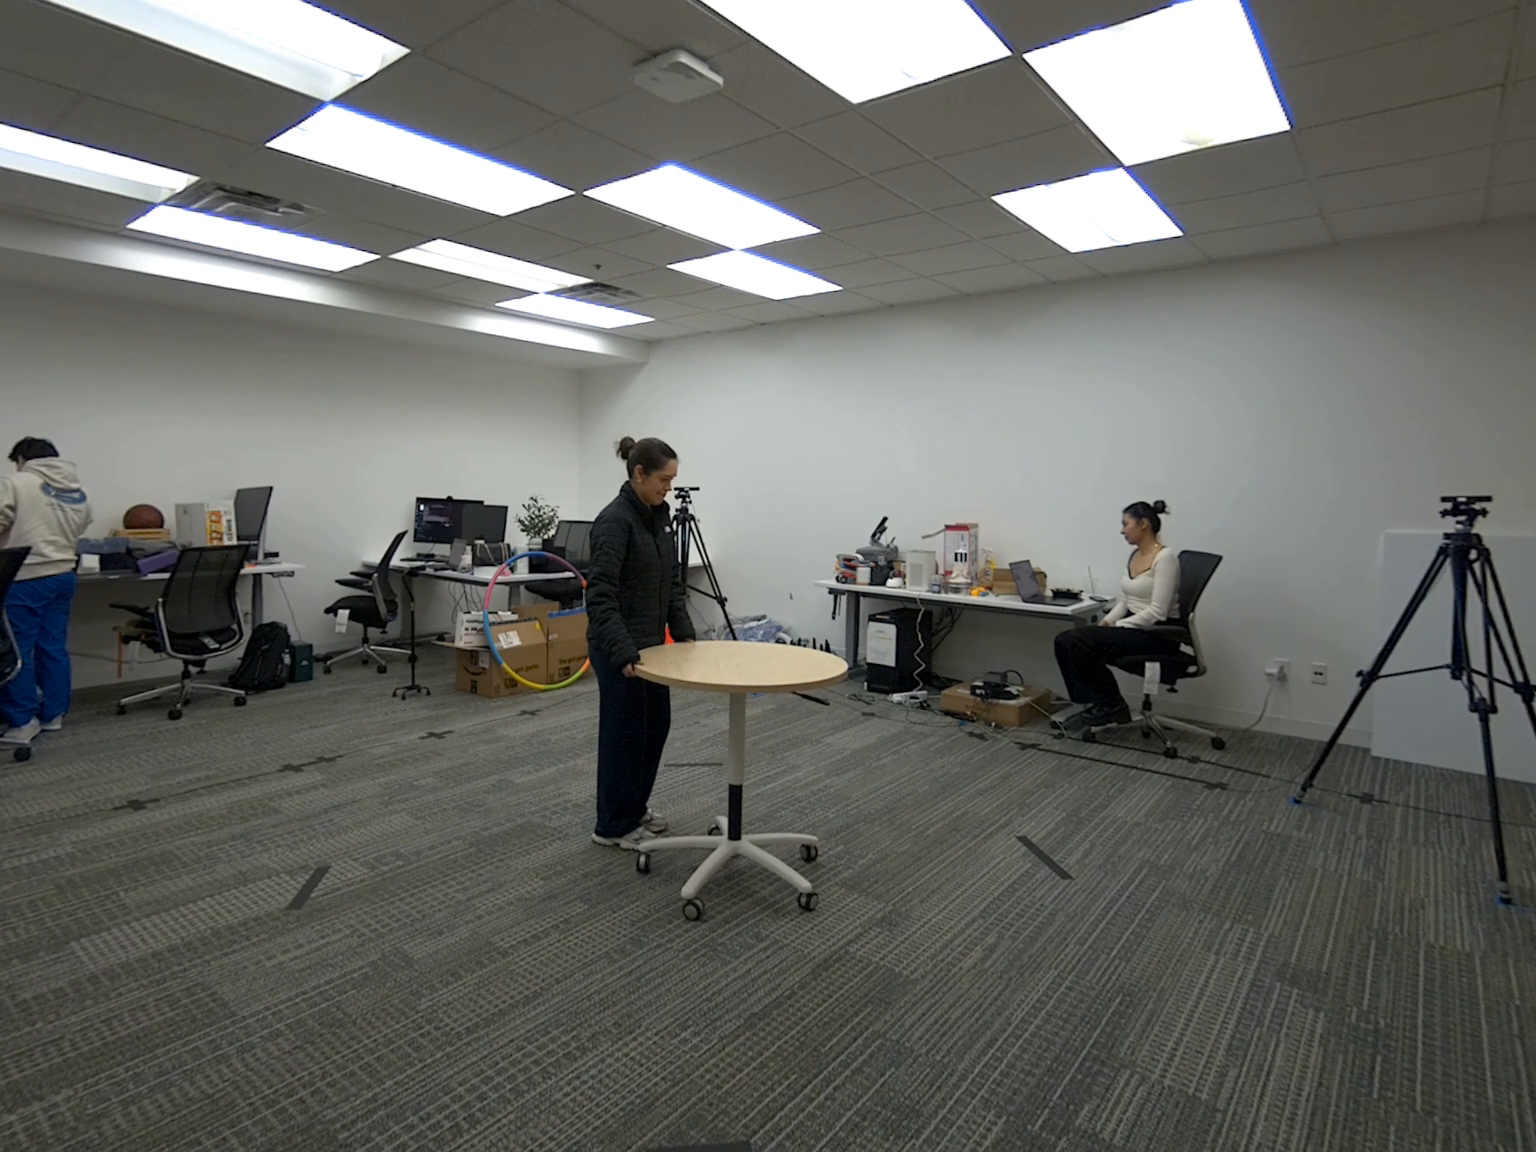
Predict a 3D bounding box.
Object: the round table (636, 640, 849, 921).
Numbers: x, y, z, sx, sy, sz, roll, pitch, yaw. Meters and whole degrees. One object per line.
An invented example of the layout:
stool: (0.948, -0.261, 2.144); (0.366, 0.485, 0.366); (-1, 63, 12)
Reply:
round table: (-0.091, 0.680, 3.019); (0.784, 0.784, 0.789); (1, 4, -2)
